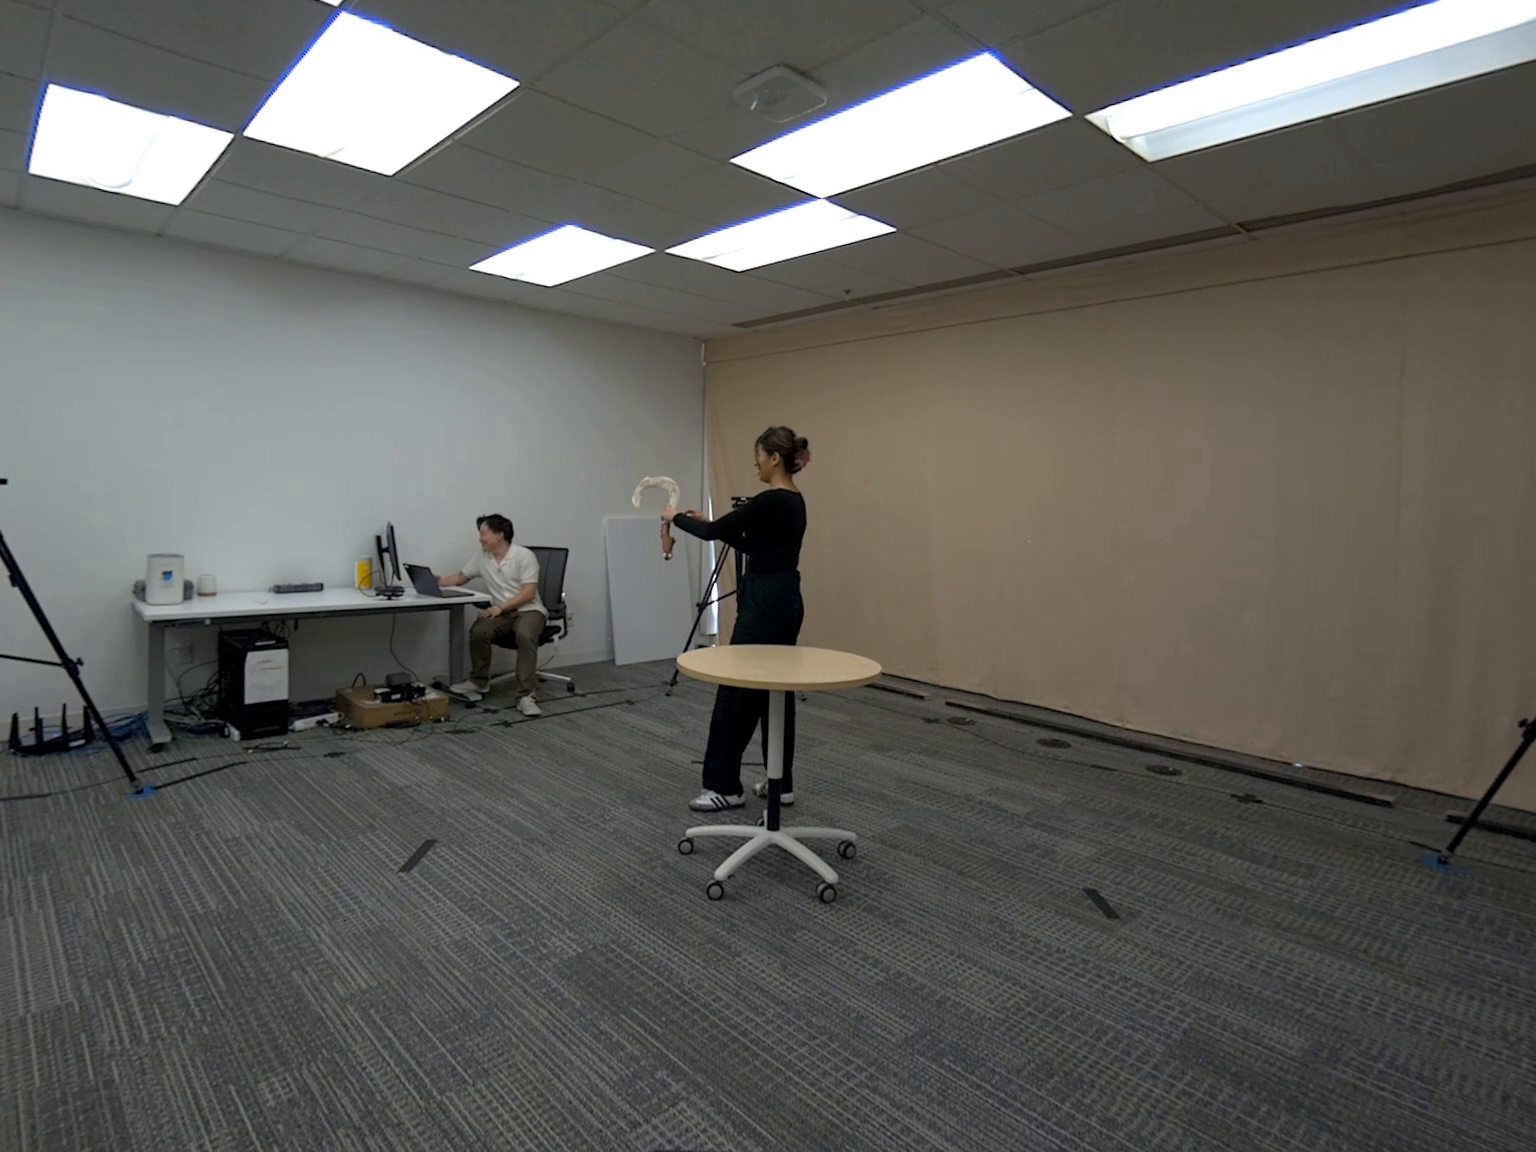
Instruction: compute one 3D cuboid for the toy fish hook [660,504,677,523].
[{"bbox_3d":[-0.508,-0.269,3.908,0.224,0.519,0.047,-6,-38,-2],"label":"toy fish hook"}]
